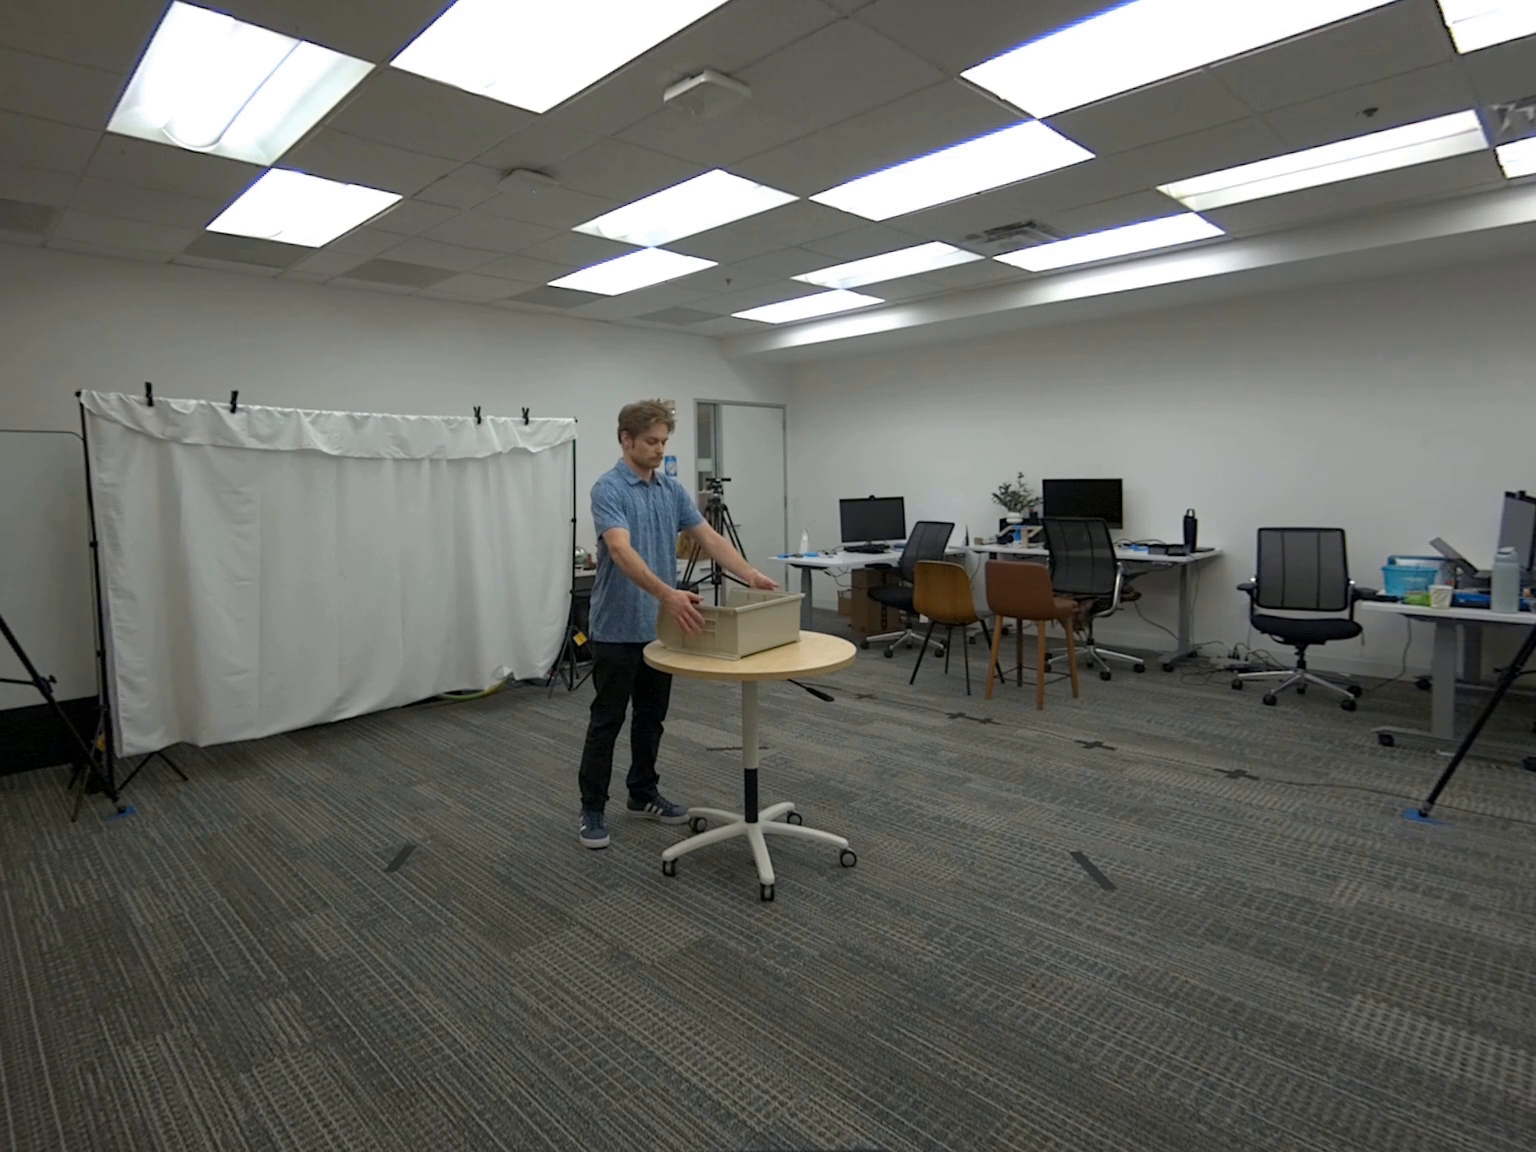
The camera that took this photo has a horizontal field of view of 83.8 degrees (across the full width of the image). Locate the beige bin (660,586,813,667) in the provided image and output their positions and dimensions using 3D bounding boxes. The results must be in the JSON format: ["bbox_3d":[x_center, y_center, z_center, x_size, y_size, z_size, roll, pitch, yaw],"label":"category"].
[{"bbox_3d":[-0.114,0.172,3.138,0.389,0.188,0.412,5,9,36],"label":"beige bin"}]
